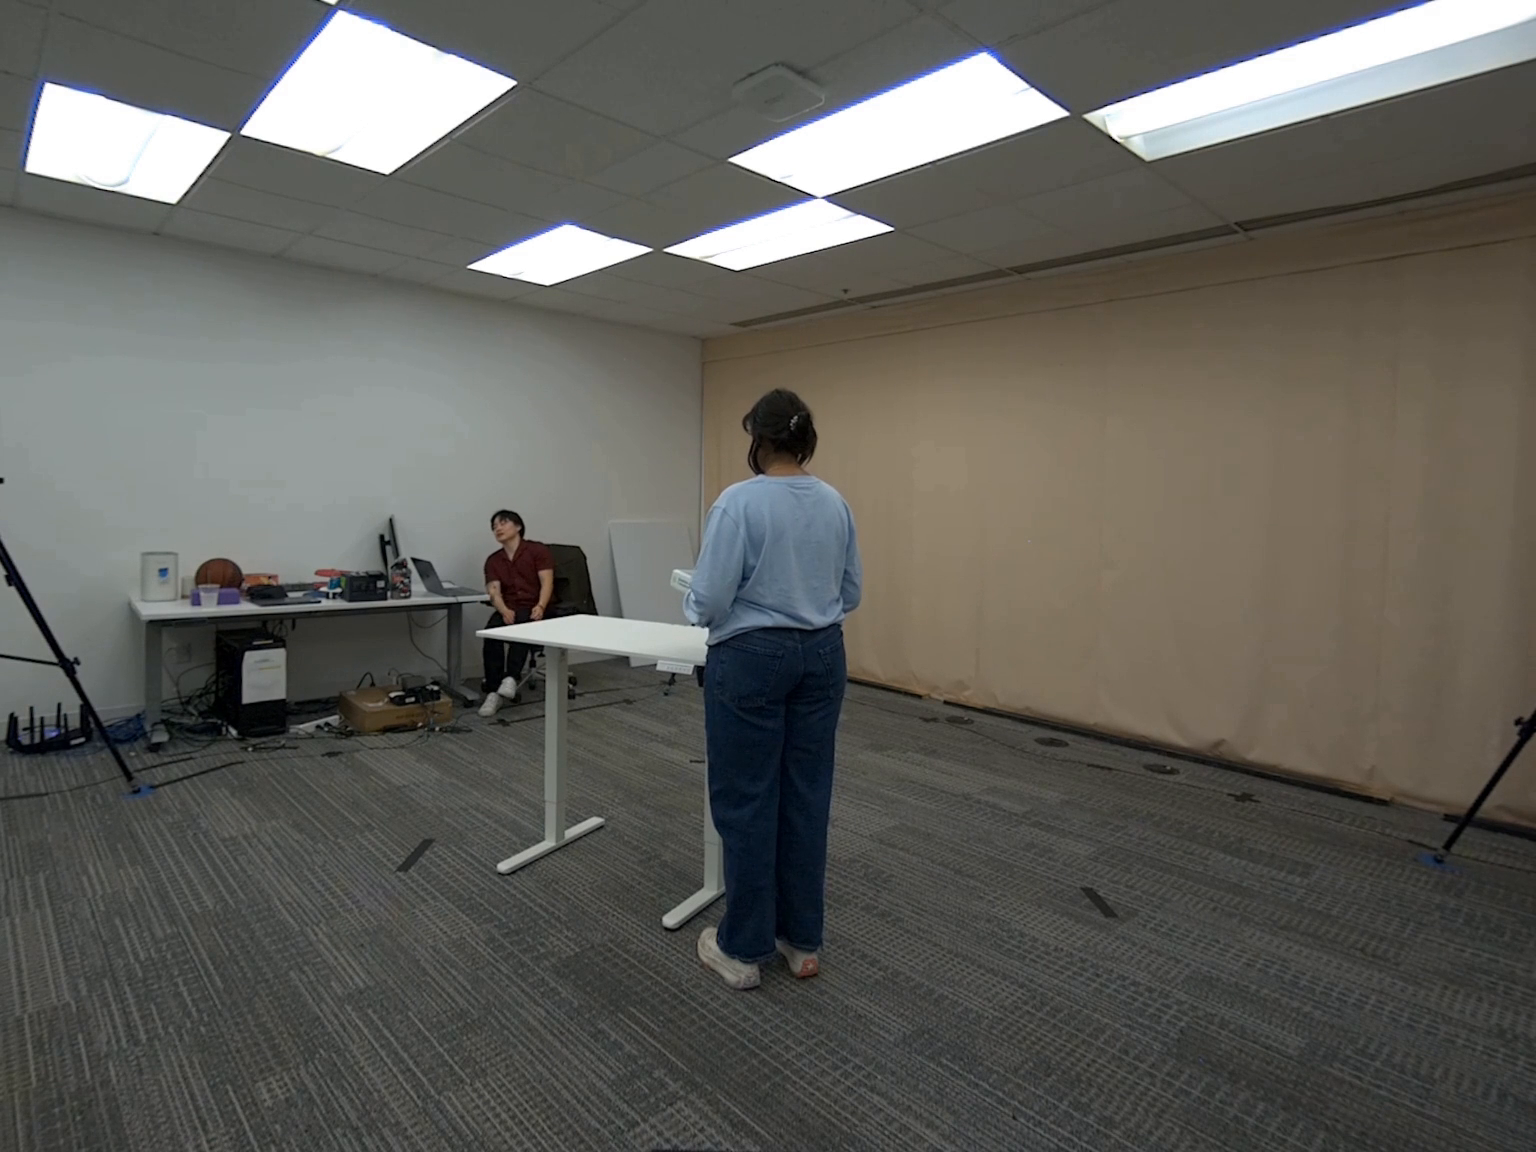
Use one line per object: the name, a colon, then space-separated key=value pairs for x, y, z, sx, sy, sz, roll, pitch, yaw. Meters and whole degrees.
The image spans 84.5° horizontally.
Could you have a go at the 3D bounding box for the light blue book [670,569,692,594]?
light blue book: x=-0.167 y=0.042 z=2.738 sx=0.187 sy=0.059 sz=0.269 roll=3 pitch=11 yaw=-39
